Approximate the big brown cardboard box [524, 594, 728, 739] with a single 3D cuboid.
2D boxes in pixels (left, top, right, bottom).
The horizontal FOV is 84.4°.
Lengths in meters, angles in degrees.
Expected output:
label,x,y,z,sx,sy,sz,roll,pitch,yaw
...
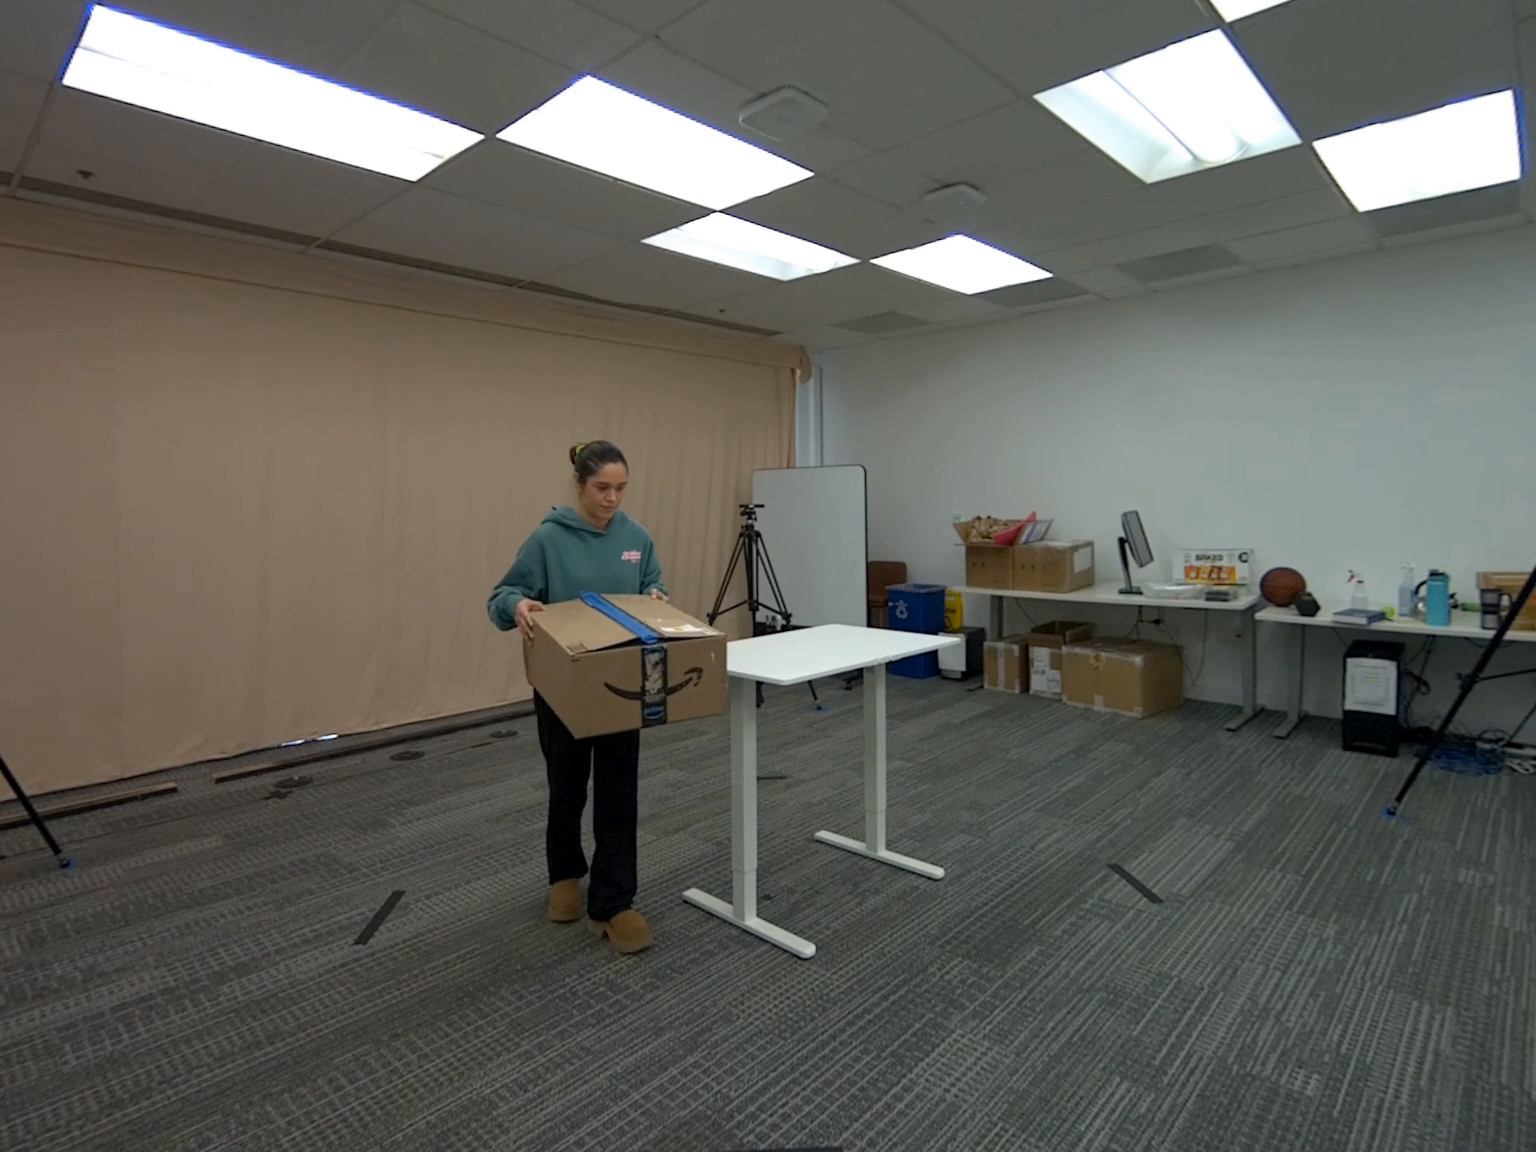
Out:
label,x,y,z,sx,sy,sz,roll,pitch,yaw
big brown cardboard box,-0.415,0.219,2.374,0.408,0.232,0.606,-5,11,-26
